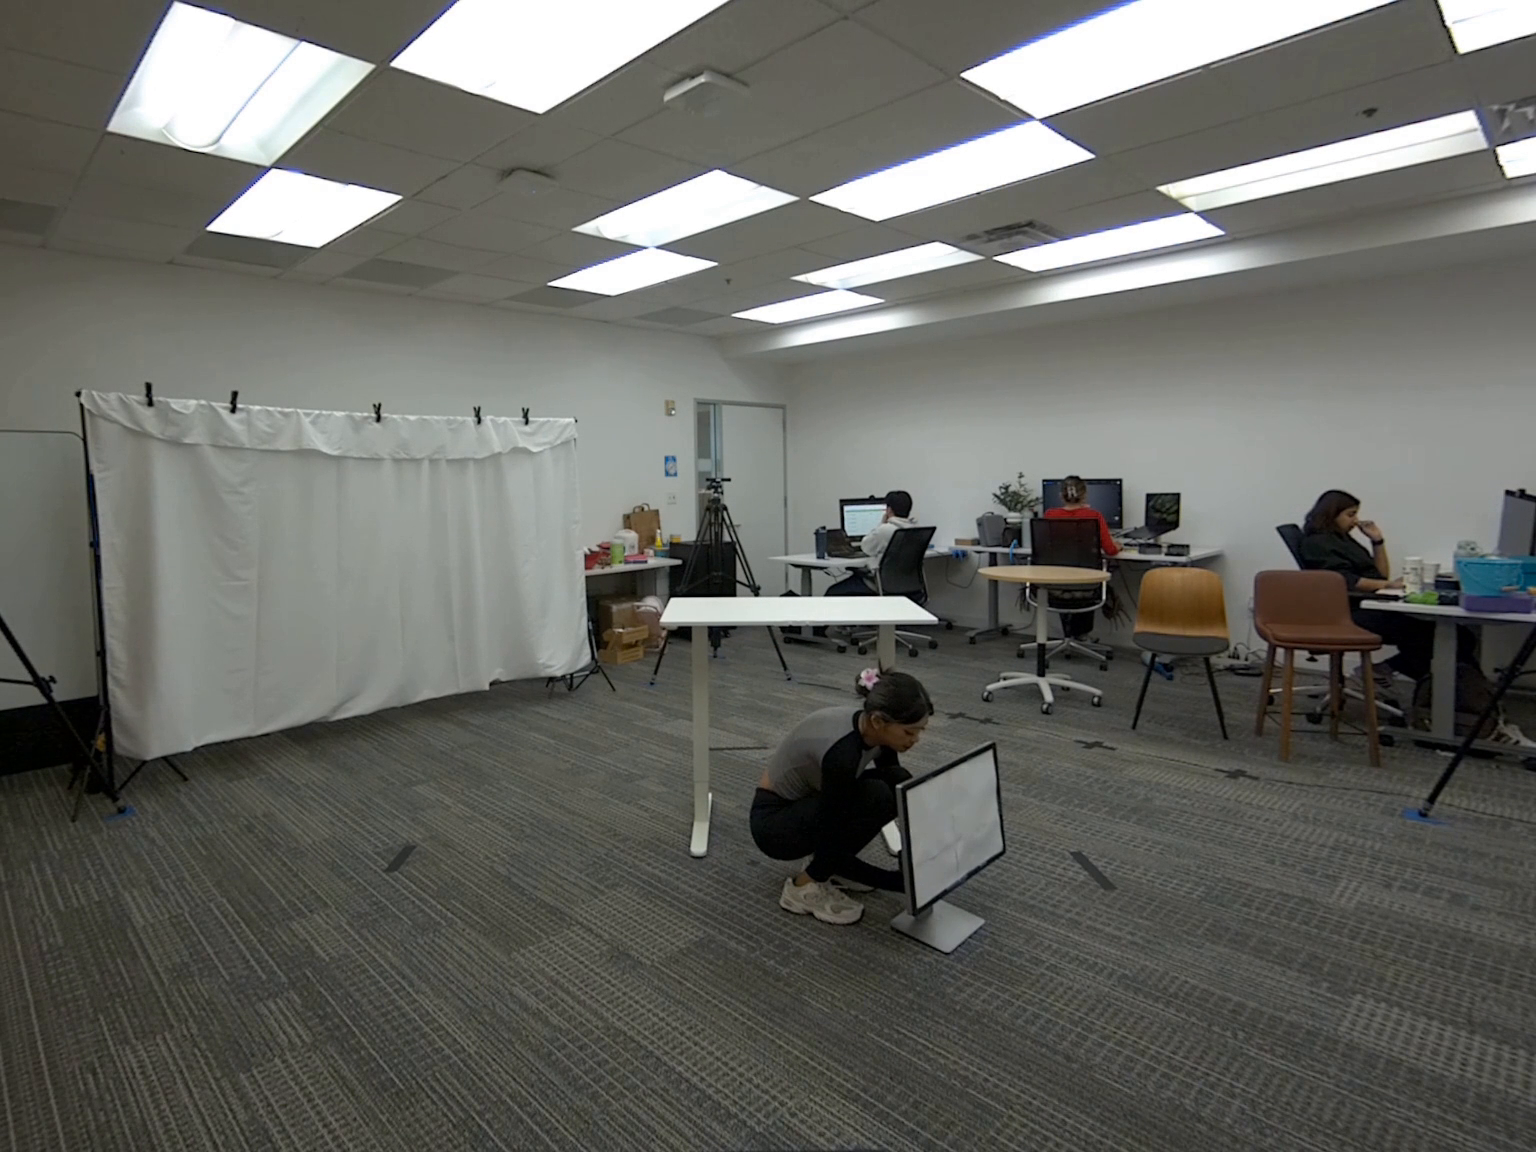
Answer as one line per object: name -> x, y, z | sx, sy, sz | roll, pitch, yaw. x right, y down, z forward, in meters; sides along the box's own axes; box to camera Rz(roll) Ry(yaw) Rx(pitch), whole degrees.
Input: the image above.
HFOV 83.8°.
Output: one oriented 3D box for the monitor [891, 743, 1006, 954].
monitor -> 0.533, 0.823, 2.612 | 0.193, 0.519, 0.525 | 9, 10, 40
